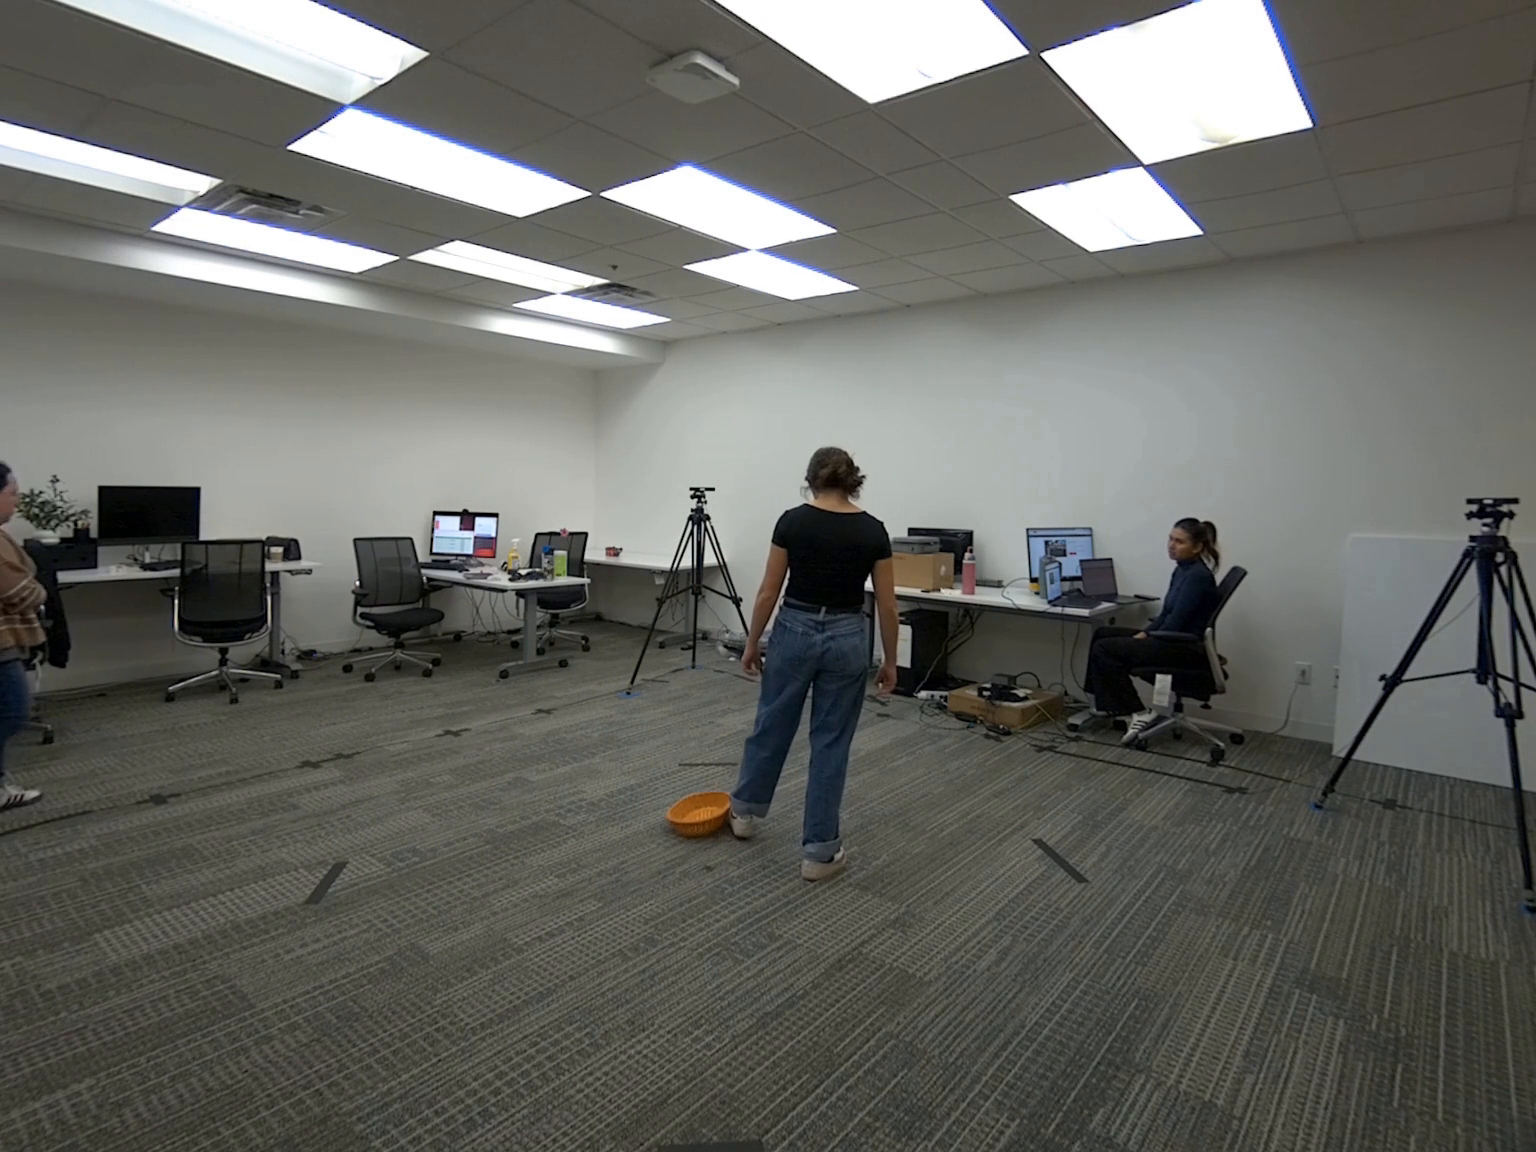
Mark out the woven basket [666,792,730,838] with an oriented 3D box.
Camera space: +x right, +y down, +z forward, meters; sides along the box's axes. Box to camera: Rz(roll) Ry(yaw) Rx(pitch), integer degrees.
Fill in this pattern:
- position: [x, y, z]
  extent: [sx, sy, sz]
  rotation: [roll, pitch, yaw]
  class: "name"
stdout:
- position: [-0.284, 0.979, 3.512]
  extent: [0.258, 0.073, 0.343]
  rotation: [-4, 6, 26]
  class: "woven basket"
